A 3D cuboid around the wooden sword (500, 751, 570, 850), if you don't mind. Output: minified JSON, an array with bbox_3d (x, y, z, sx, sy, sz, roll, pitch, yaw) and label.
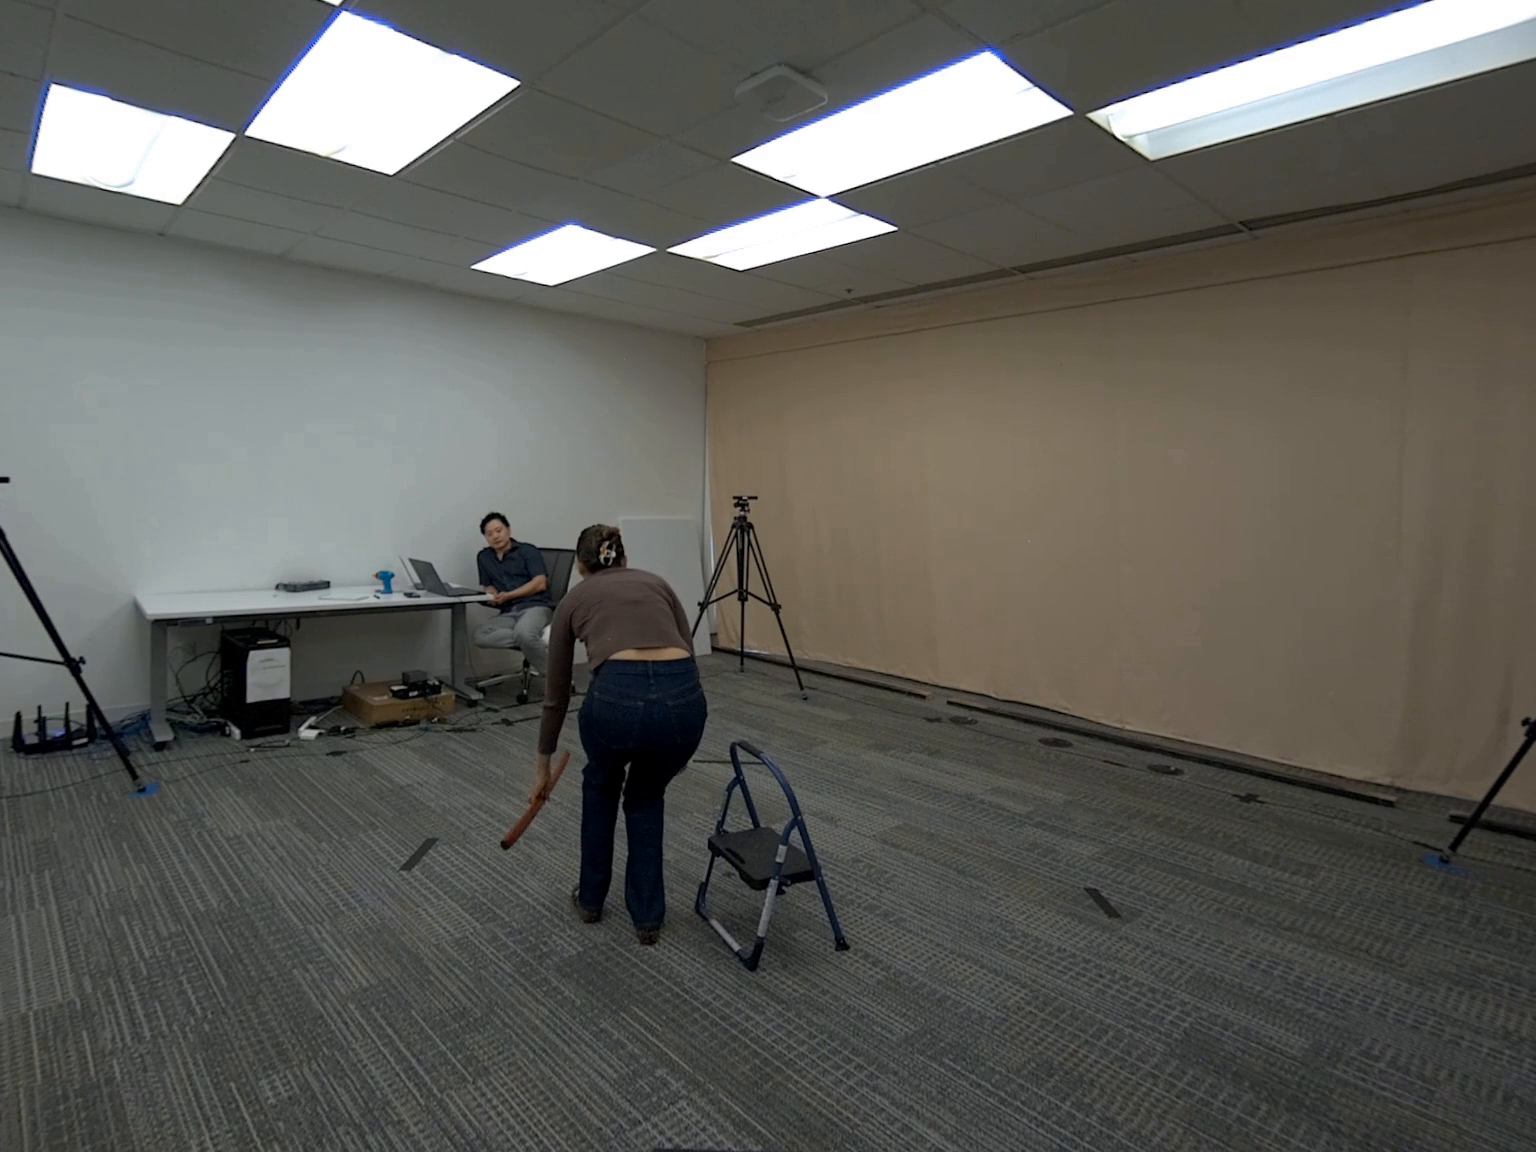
[{"bbox_3d":[-0.802,0.767,2.943,0.024,0.051,1.027,-11,4,-2],"label":"wooden sword"}]
